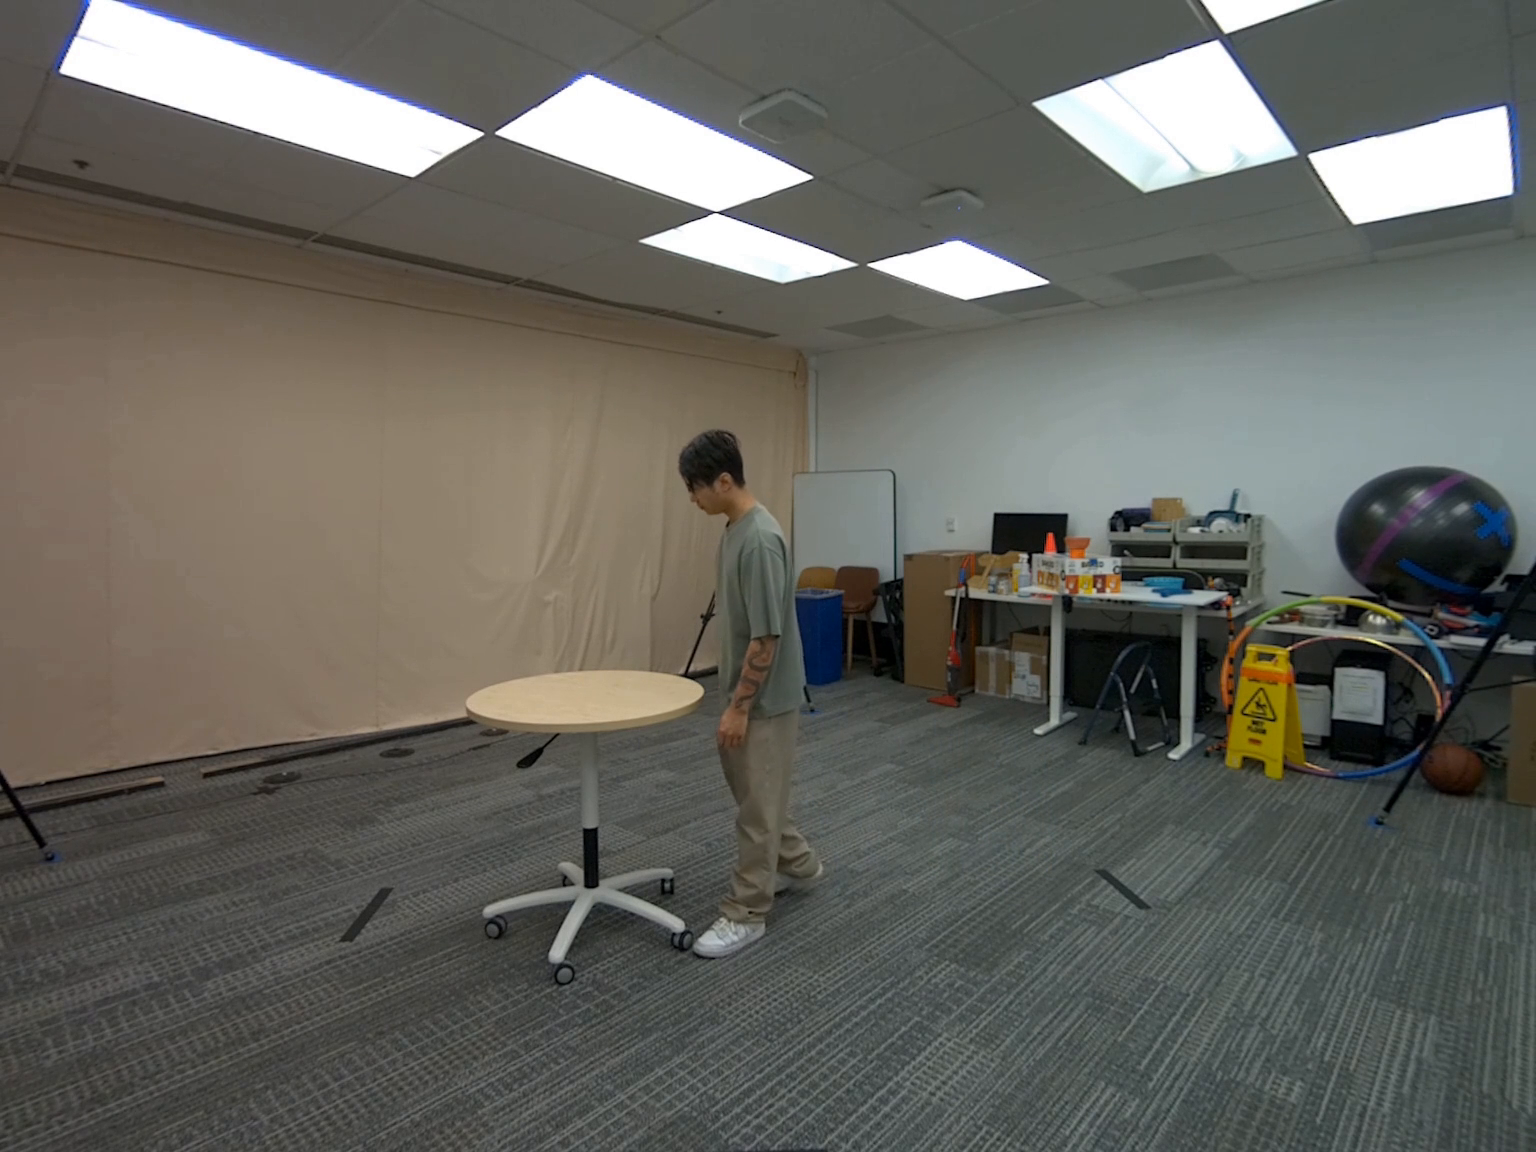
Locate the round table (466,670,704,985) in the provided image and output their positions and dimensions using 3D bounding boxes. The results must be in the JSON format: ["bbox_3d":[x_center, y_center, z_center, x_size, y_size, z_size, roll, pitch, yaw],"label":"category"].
[{"bbox_3d":[-0.587,0.777,2.764,0.784,0.785,0.788,-1,3,-2],"label":"round table"}]
